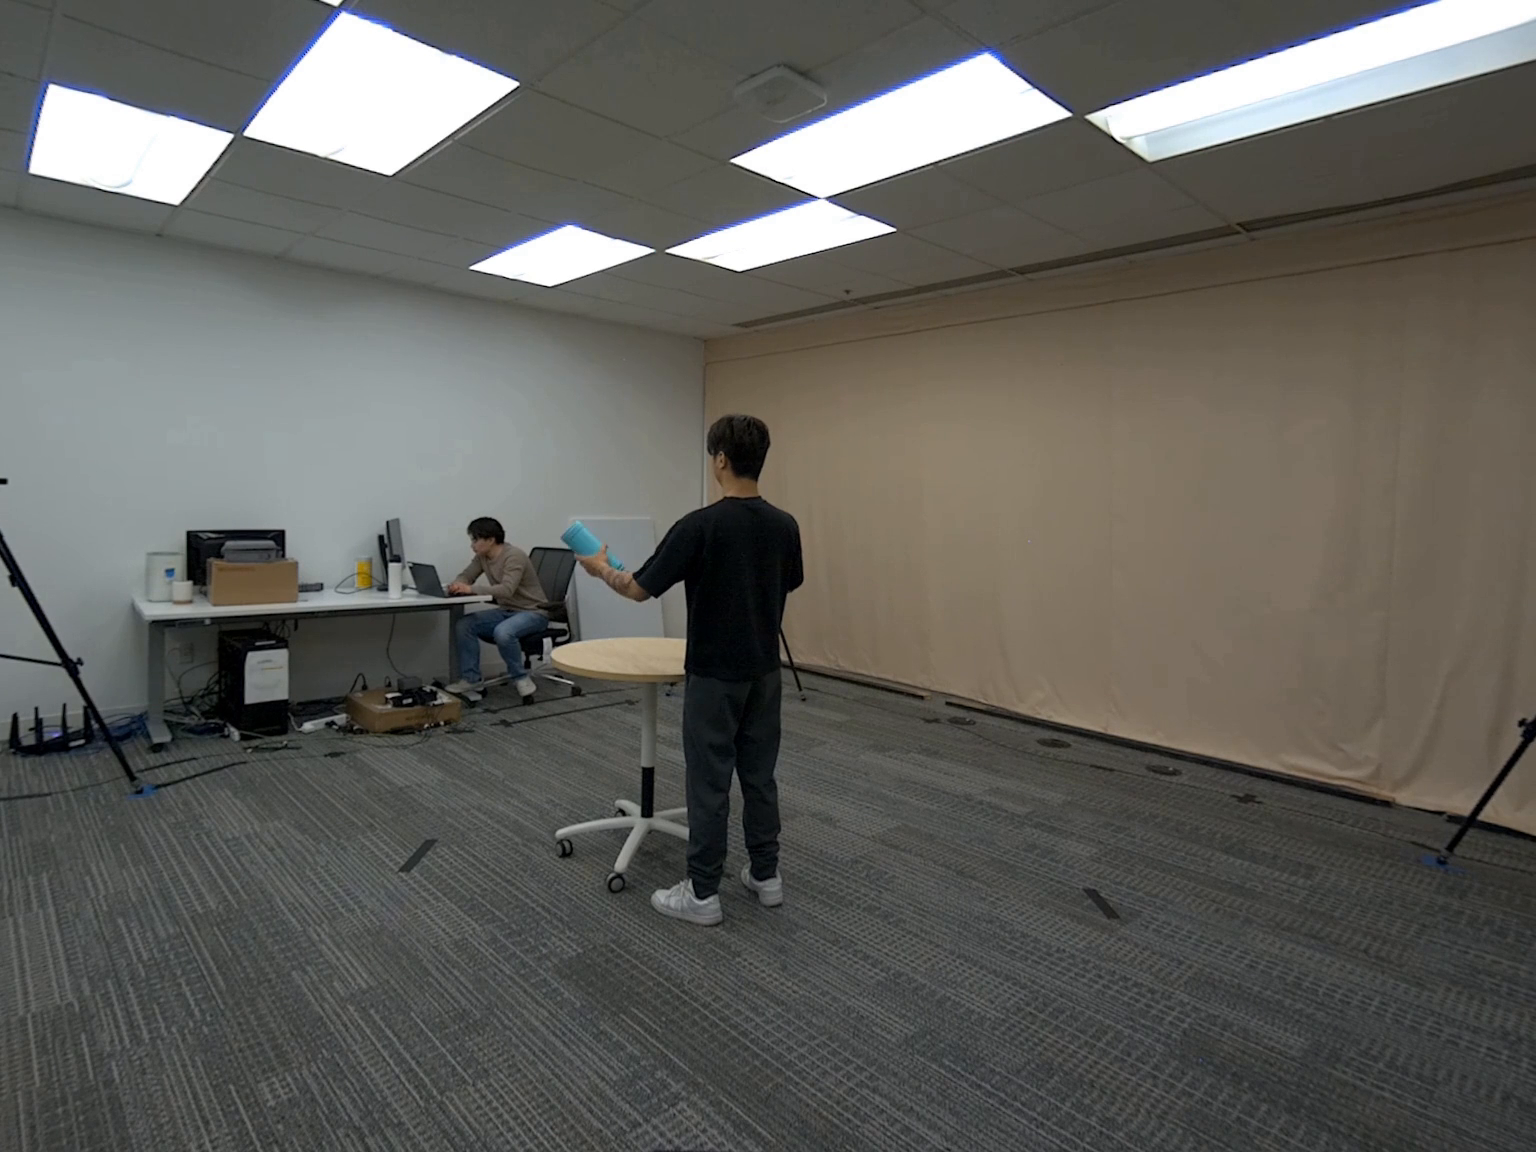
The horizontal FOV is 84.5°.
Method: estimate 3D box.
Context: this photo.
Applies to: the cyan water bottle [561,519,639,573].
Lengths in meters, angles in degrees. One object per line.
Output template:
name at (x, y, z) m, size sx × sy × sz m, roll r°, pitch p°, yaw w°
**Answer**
cyan water bottle at (-0.580, -0.068, 2.956) m, size 0.282 × 0.092 × 0.093 m, roll 43°, pitch 0°, yaw -4°
